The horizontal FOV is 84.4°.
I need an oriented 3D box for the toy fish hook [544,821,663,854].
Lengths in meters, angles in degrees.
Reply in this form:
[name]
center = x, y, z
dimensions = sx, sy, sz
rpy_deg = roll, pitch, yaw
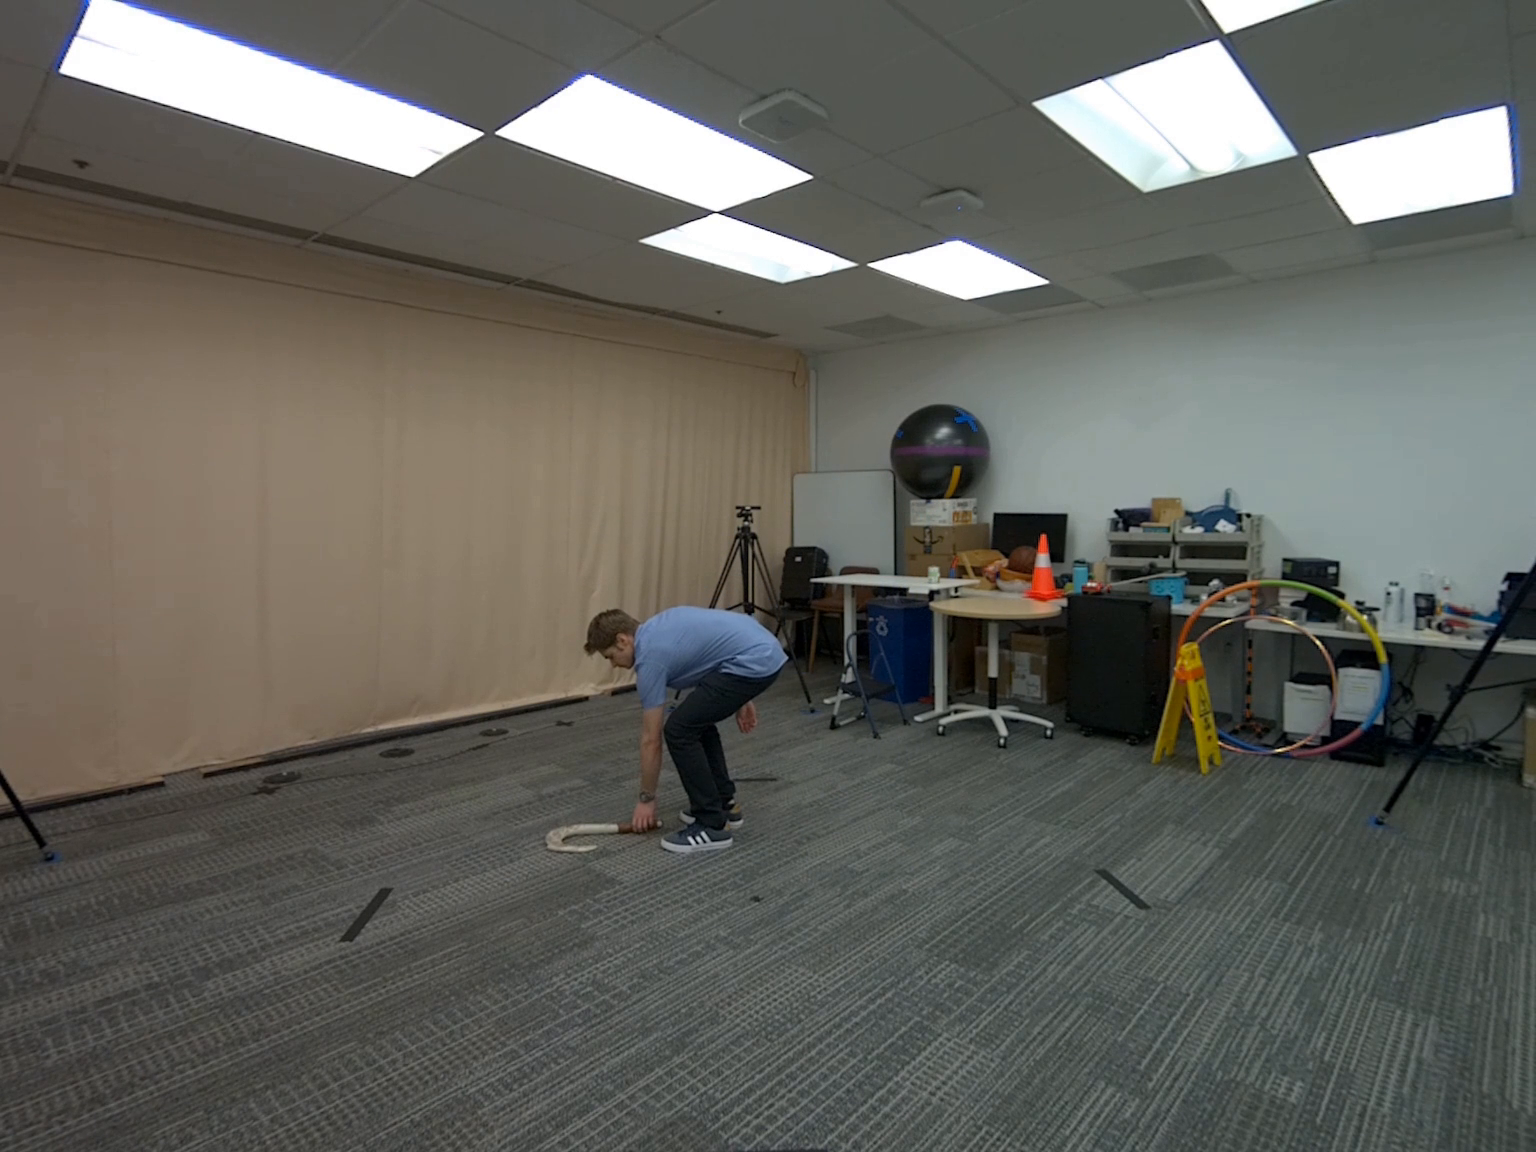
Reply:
[toy fish hook]
center = -0.679, 1.092, 3.536
dimensions = 0.497, 0.048, 0.230
rpy_deg = -4, 13, -18
